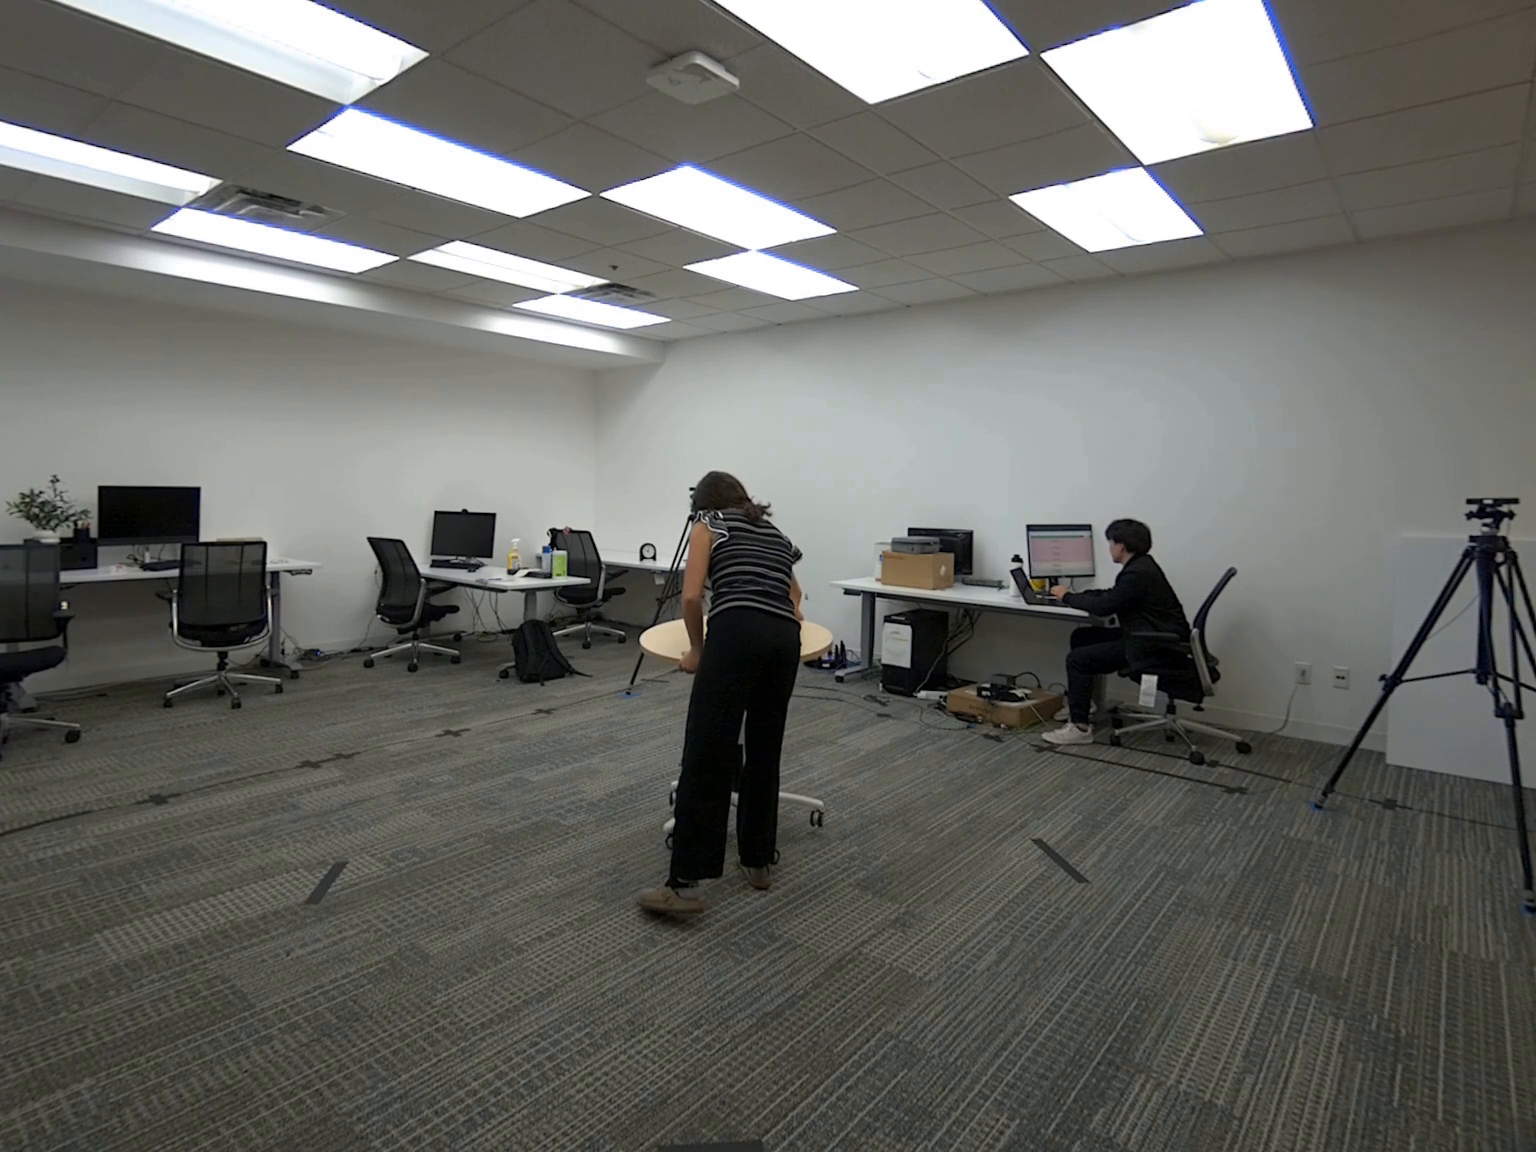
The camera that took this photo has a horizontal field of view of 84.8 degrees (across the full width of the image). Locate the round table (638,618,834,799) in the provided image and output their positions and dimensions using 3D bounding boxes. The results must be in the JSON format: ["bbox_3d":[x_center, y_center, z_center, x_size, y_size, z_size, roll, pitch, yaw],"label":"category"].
[{"bbox_3d":[-0.132,0.622,3.428,0.763,0.788,0.771,-1,8,-2],"label":"round table"}]
